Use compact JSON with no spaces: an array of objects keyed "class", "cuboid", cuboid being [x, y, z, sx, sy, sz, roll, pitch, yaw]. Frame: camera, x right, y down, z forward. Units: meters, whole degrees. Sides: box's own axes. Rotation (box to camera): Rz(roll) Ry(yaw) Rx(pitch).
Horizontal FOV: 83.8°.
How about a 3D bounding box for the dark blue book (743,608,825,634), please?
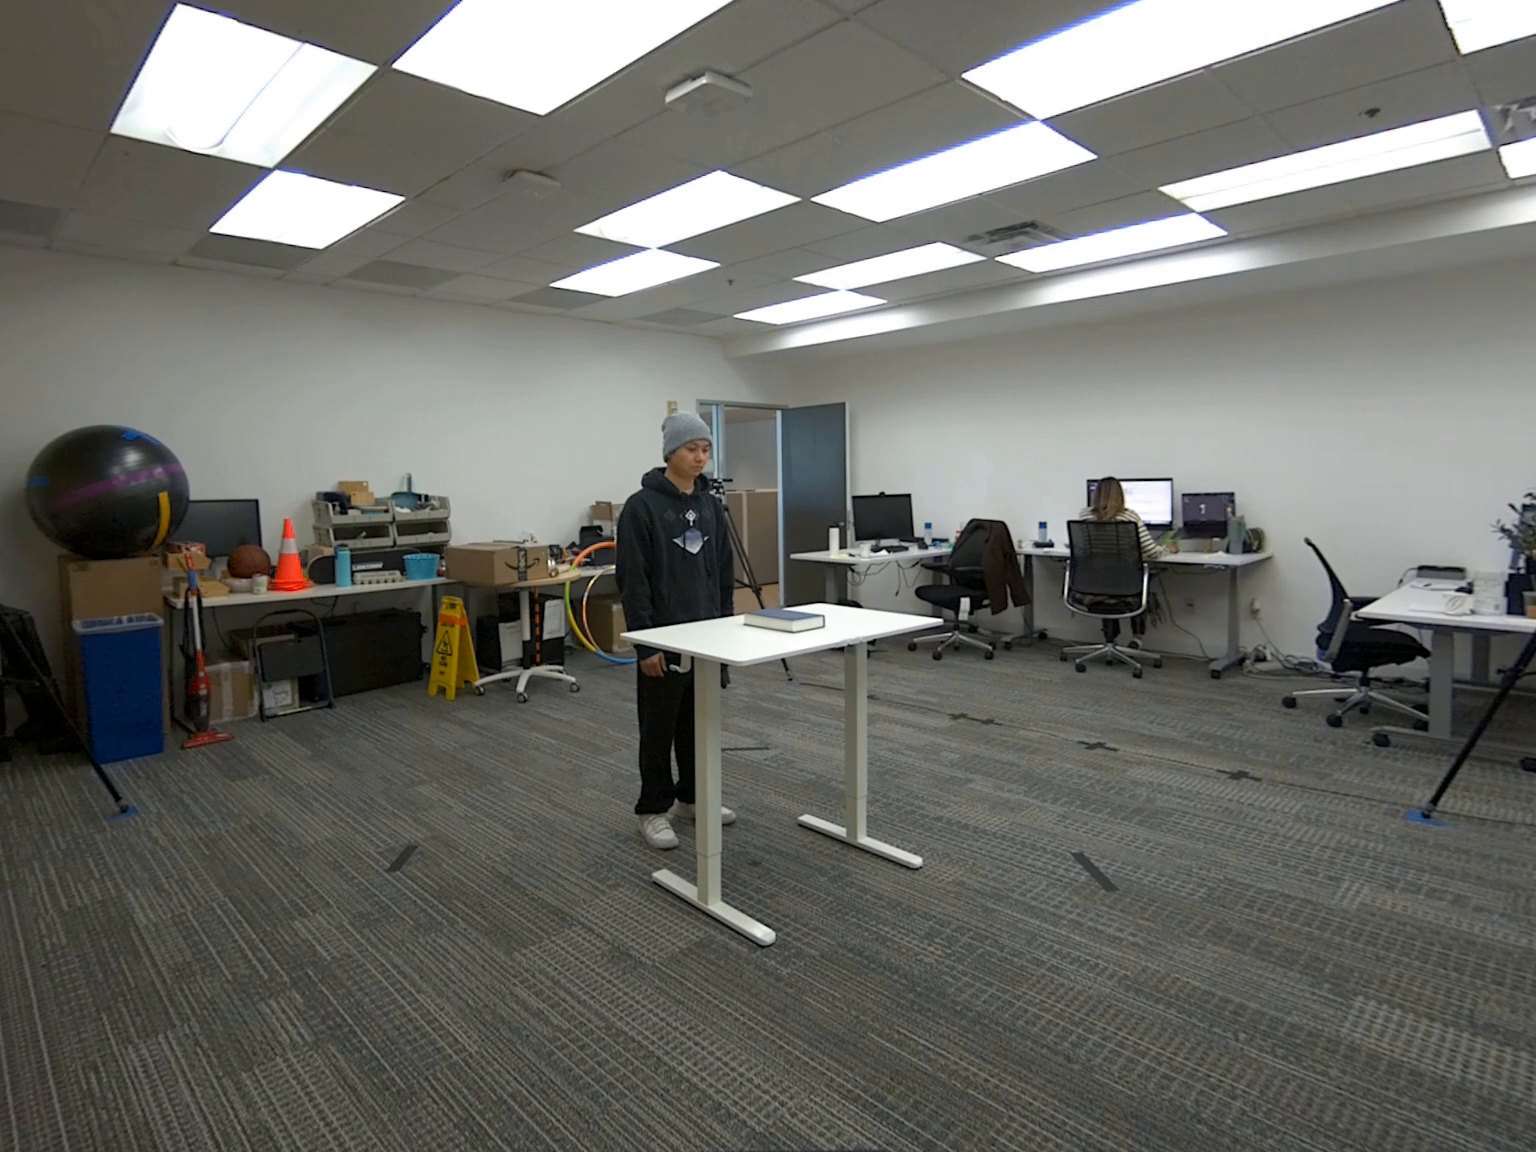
[{"class":"dark blue book","cuboid":[0.060,0.155,2.976,0.159,0.045,0.253,-6,8,-43]}]
